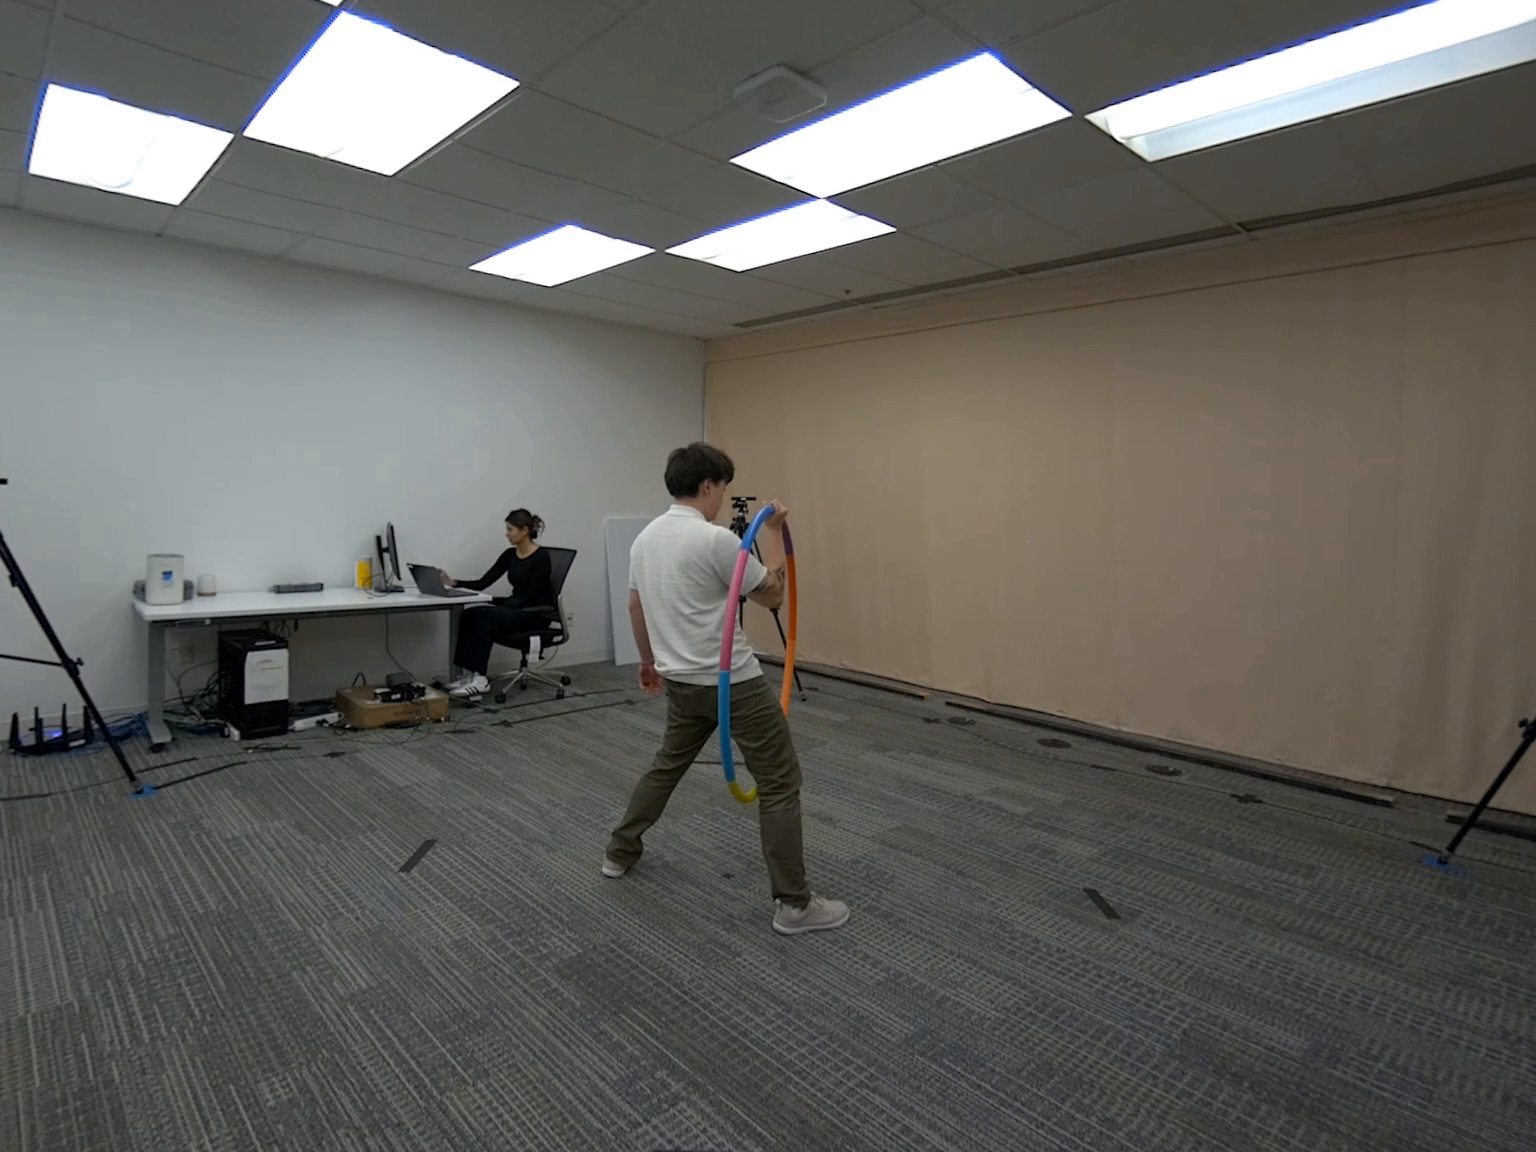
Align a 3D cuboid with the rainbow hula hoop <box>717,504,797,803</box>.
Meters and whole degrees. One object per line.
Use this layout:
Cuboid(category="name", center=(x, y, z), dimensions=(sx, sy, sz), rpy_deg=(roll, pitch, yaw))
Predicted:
Cuboid(category="rainbow hula hoop", center=(-0.023, 0.253, 2.855), dimensions=(0.036, 0.976, 0.970), rpy_deg=(3, 5, 13))
